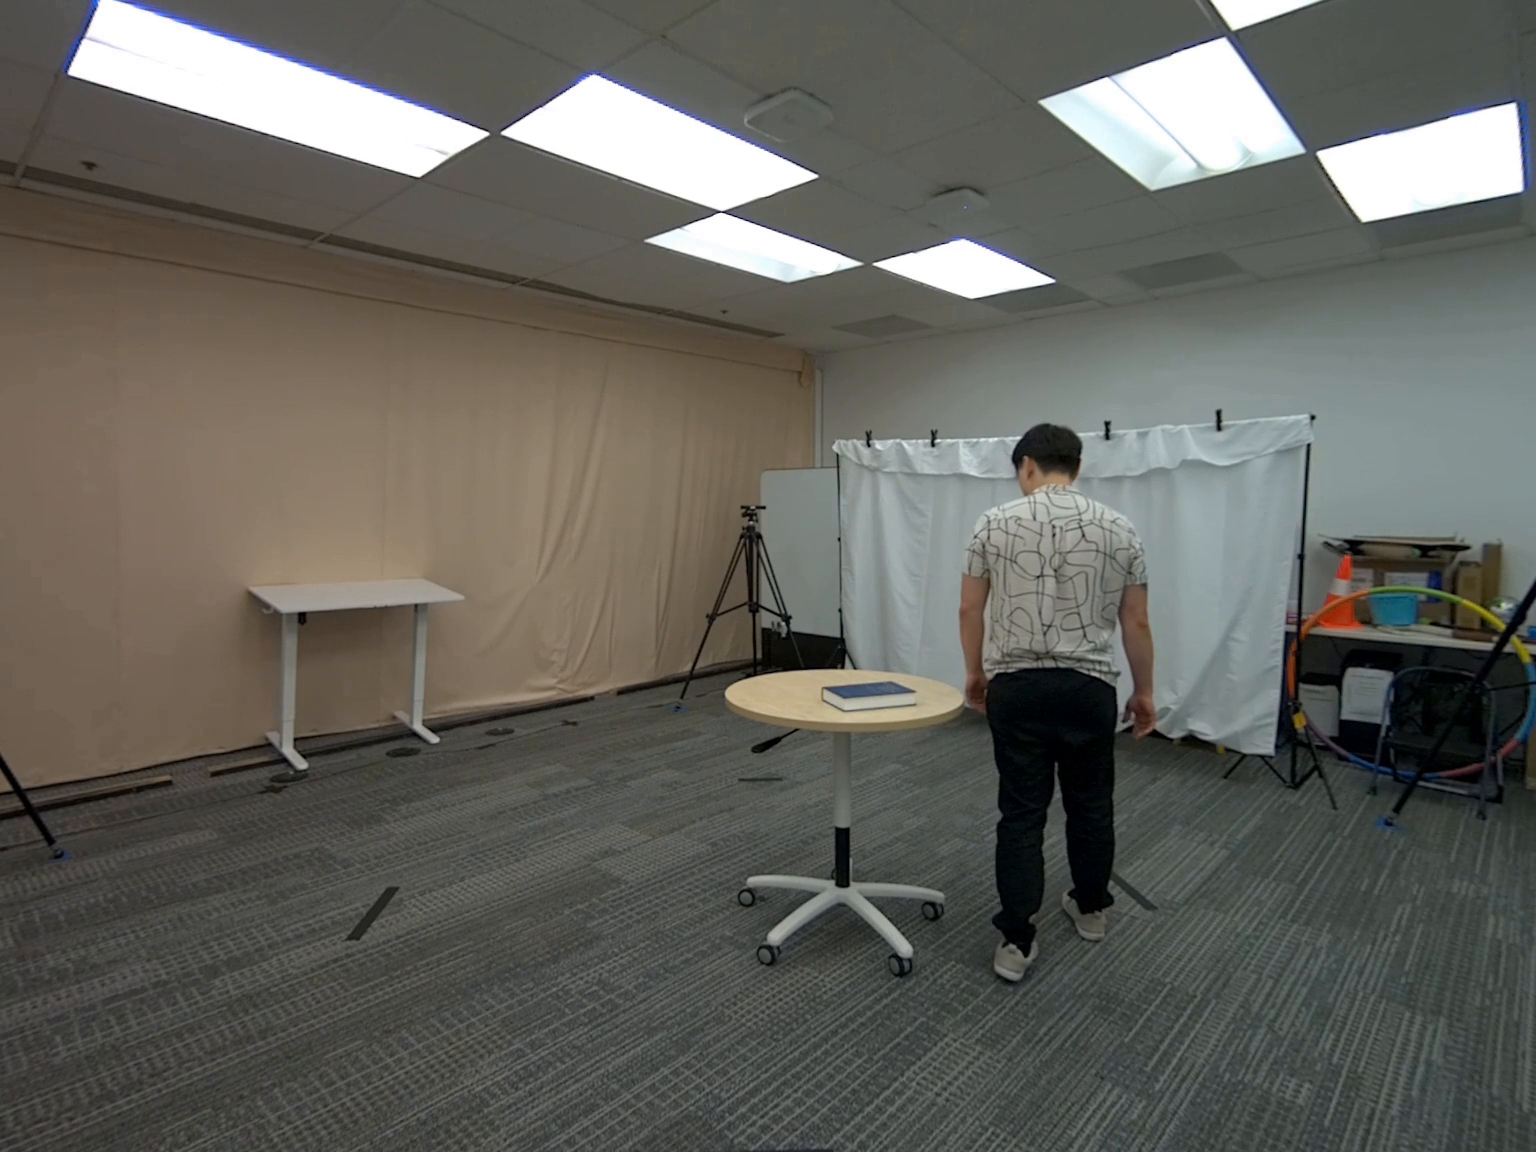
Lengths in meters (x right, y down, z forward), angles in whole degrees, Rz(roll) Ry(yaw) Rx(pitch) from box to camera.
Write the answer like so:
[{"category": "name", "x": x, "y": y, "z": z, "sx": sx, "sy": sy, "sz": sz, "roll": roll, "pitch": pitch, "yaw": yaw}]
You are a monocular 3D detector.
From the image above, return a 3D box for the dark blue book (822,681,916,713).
[{"category": "dark blue book", "x": 0.316, "y": 0.374, "z": 2.593, "sx": 0.241, "sy": 0.045, "sz": 0.167, "roll": -2, "pitch": 5, "yaw": -18}]
